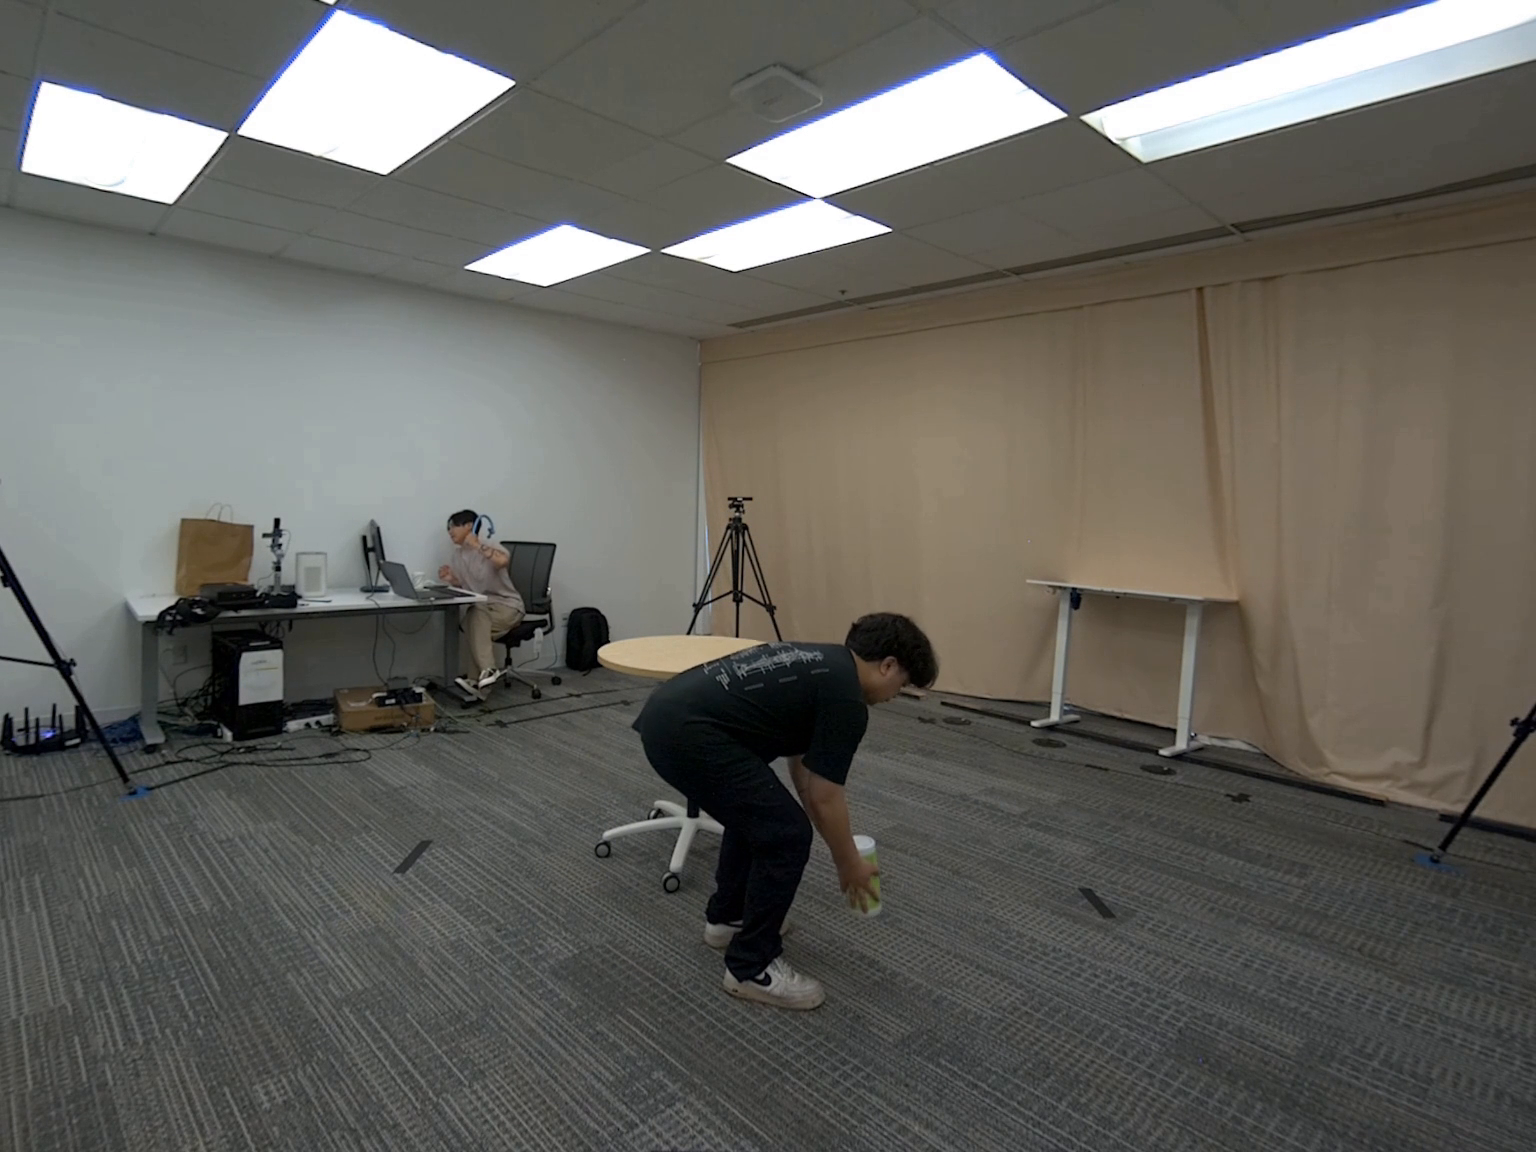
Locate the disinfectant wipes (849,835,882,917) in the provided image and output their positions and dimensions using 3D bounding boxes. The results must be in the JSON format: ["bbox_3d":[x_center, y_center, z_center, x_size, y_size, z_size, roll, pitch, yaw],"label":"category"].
[{"bbox_3d":[0.280,0.897,2.575,0.118,0.218,0.118,-7,-1,-1],"label":"disinfectant wipes"}]
